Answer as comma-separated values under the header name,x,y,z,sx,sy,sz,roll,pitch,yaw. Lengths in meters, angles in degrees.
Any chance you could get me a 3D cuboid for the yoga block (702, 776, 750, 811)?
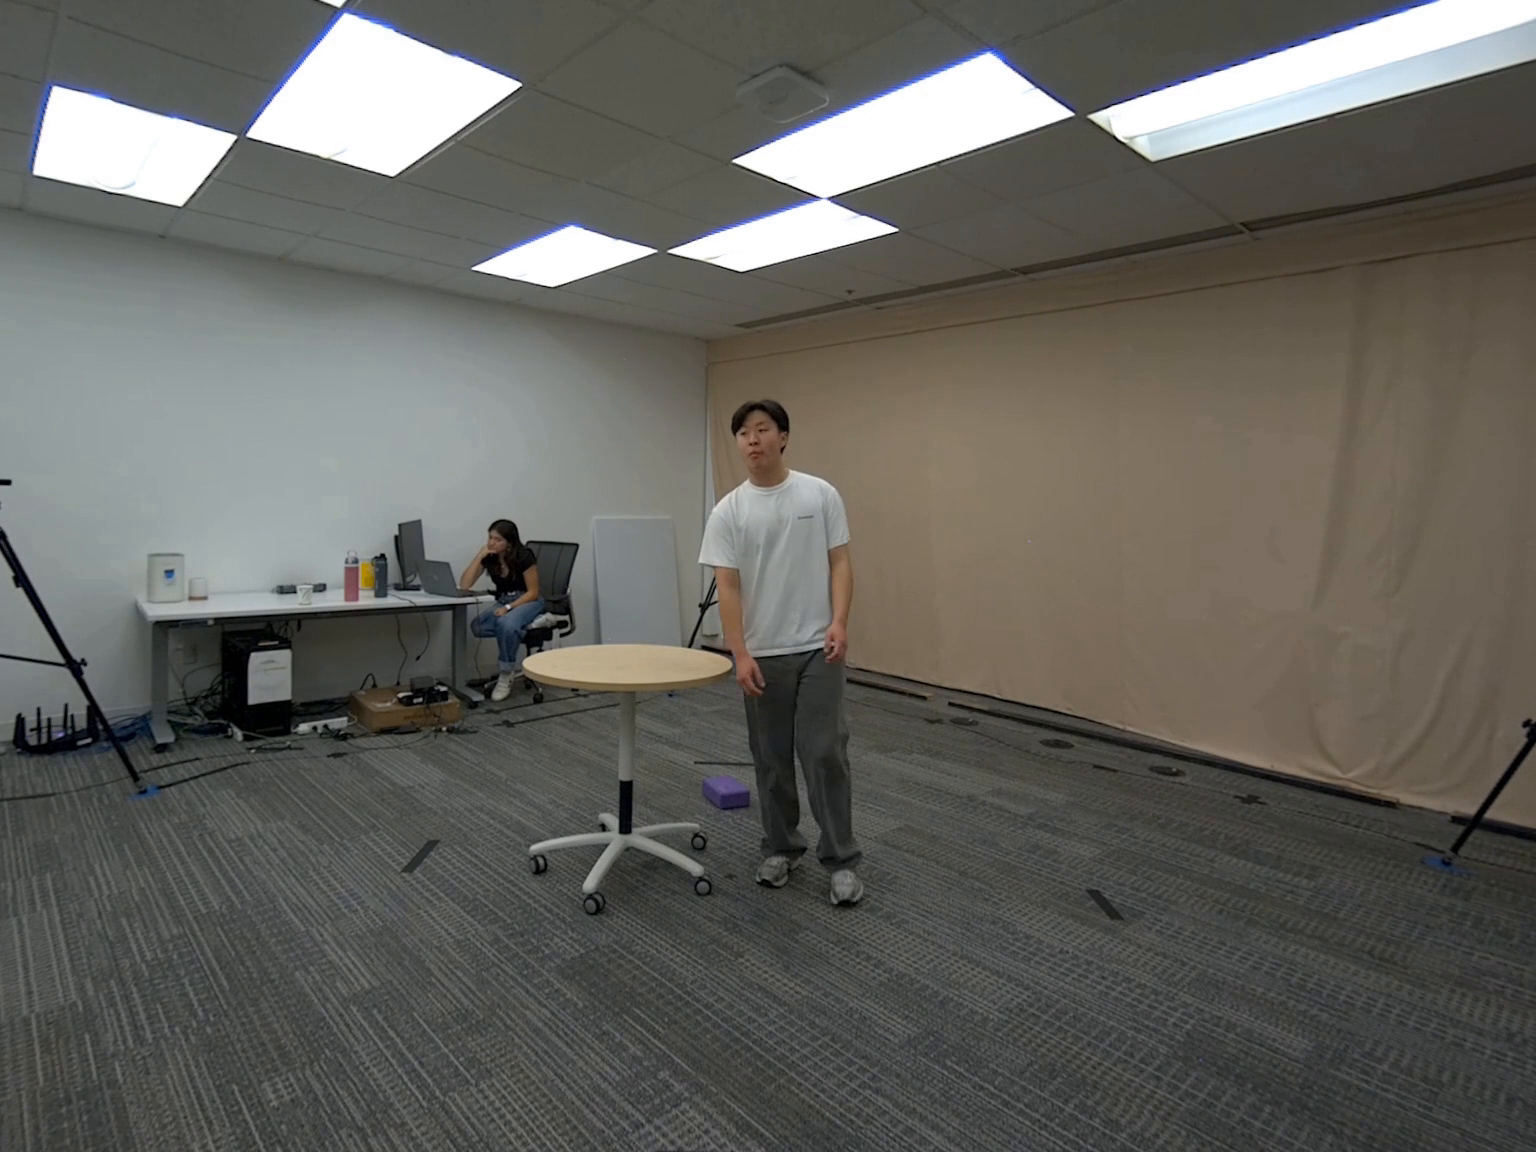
name,x,y,z,sx,sy,sz,roll,pitch,yaw
yoga block,-0.206,1.003,3.893,0.146,0.076,0.234,-1,5,-26
